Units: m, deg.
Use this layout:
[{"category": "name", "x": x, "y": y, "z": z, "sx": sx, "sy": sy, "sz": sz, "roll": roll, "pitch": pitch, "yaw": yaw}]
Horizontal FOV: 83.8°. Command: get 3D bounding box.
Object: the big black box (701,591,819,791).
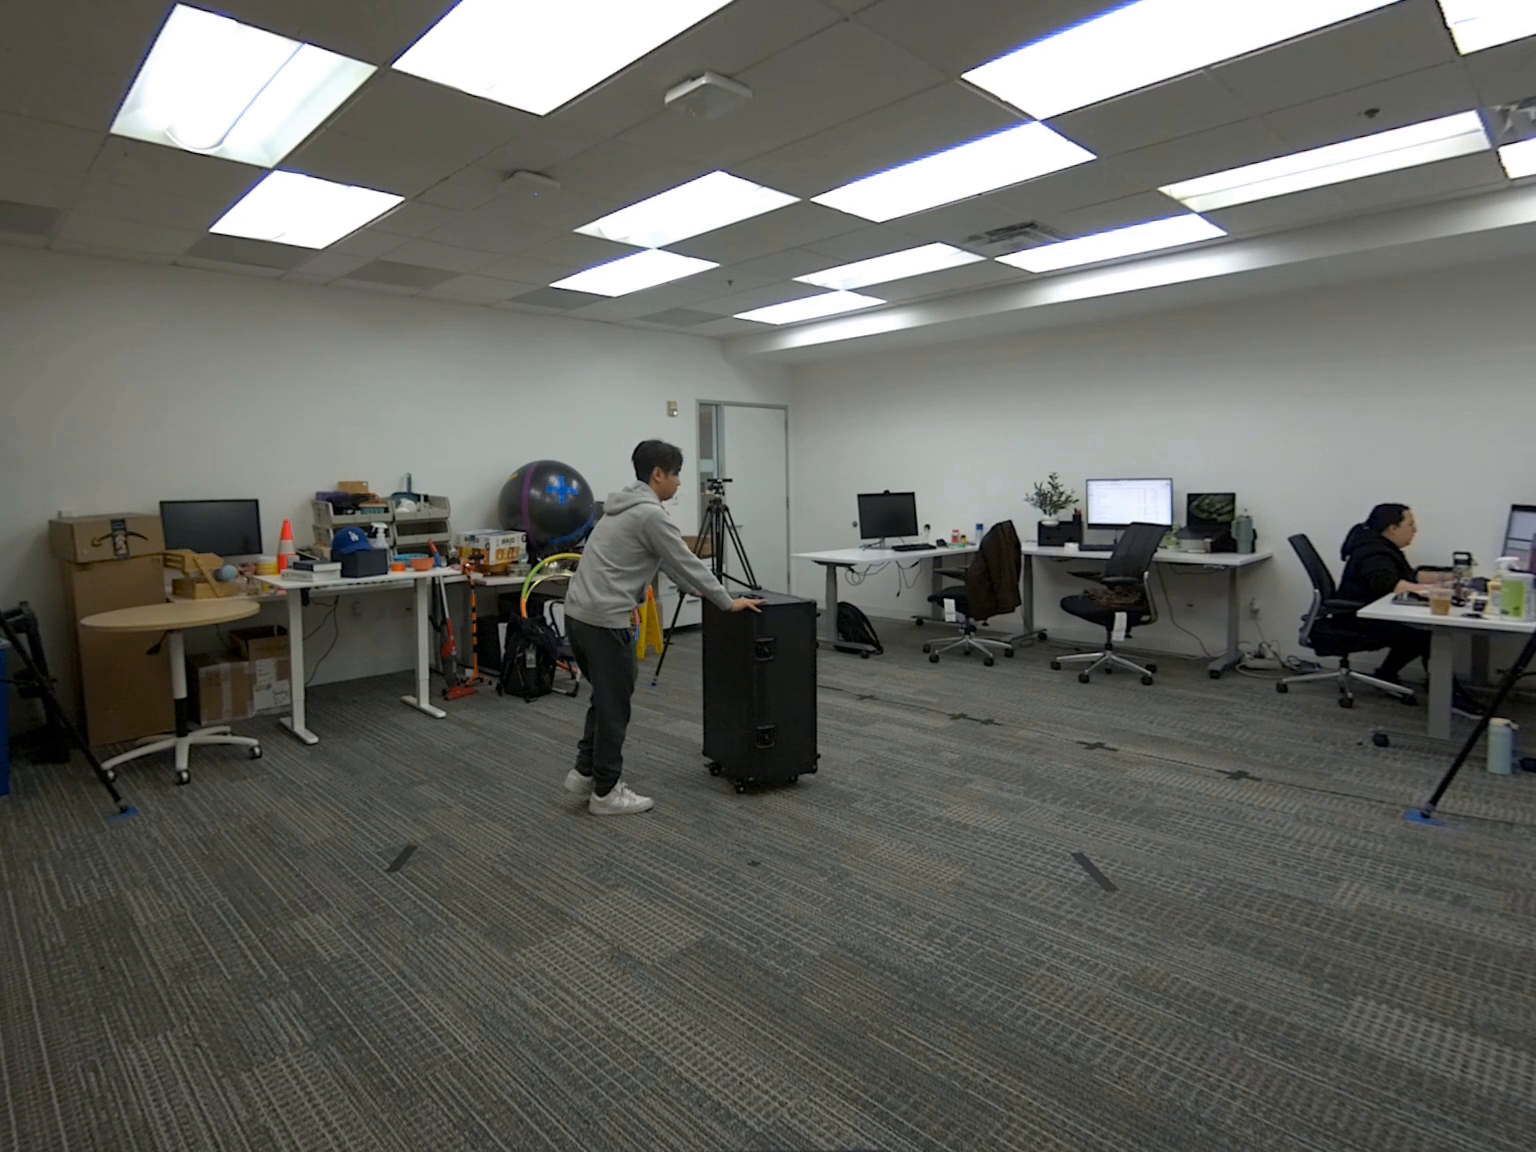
[{"category": "big black box", "x": -0.038, "y": 0.527, "z": 3.997, "sx": 0.387, "sy": 0.859, "sz": 0.535, "roll": -1, "pitch": 3, "yaw": -28}]
